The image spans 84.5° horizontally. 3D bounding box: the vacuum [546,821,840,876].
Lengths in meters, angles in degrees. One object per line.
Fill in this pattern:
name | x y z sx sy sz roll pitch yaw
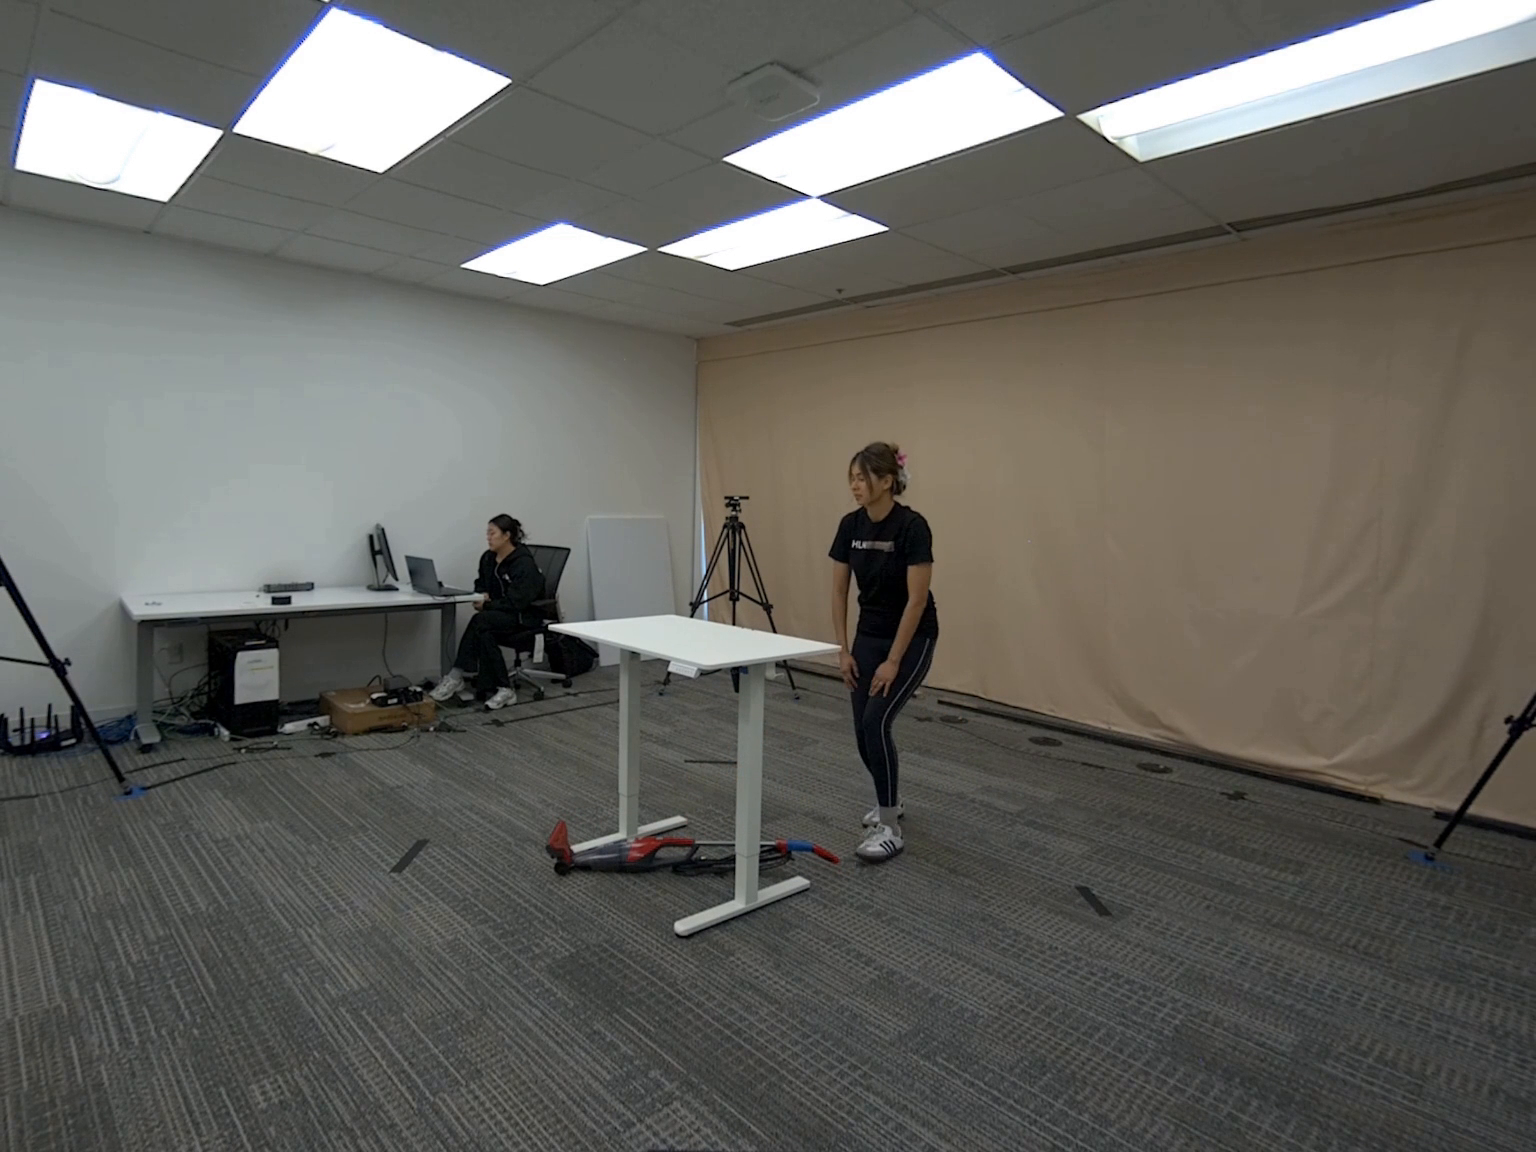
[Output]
vacuum | -0.271 1.032 3.125 1.048 0.144 0.253 3 3 -1
